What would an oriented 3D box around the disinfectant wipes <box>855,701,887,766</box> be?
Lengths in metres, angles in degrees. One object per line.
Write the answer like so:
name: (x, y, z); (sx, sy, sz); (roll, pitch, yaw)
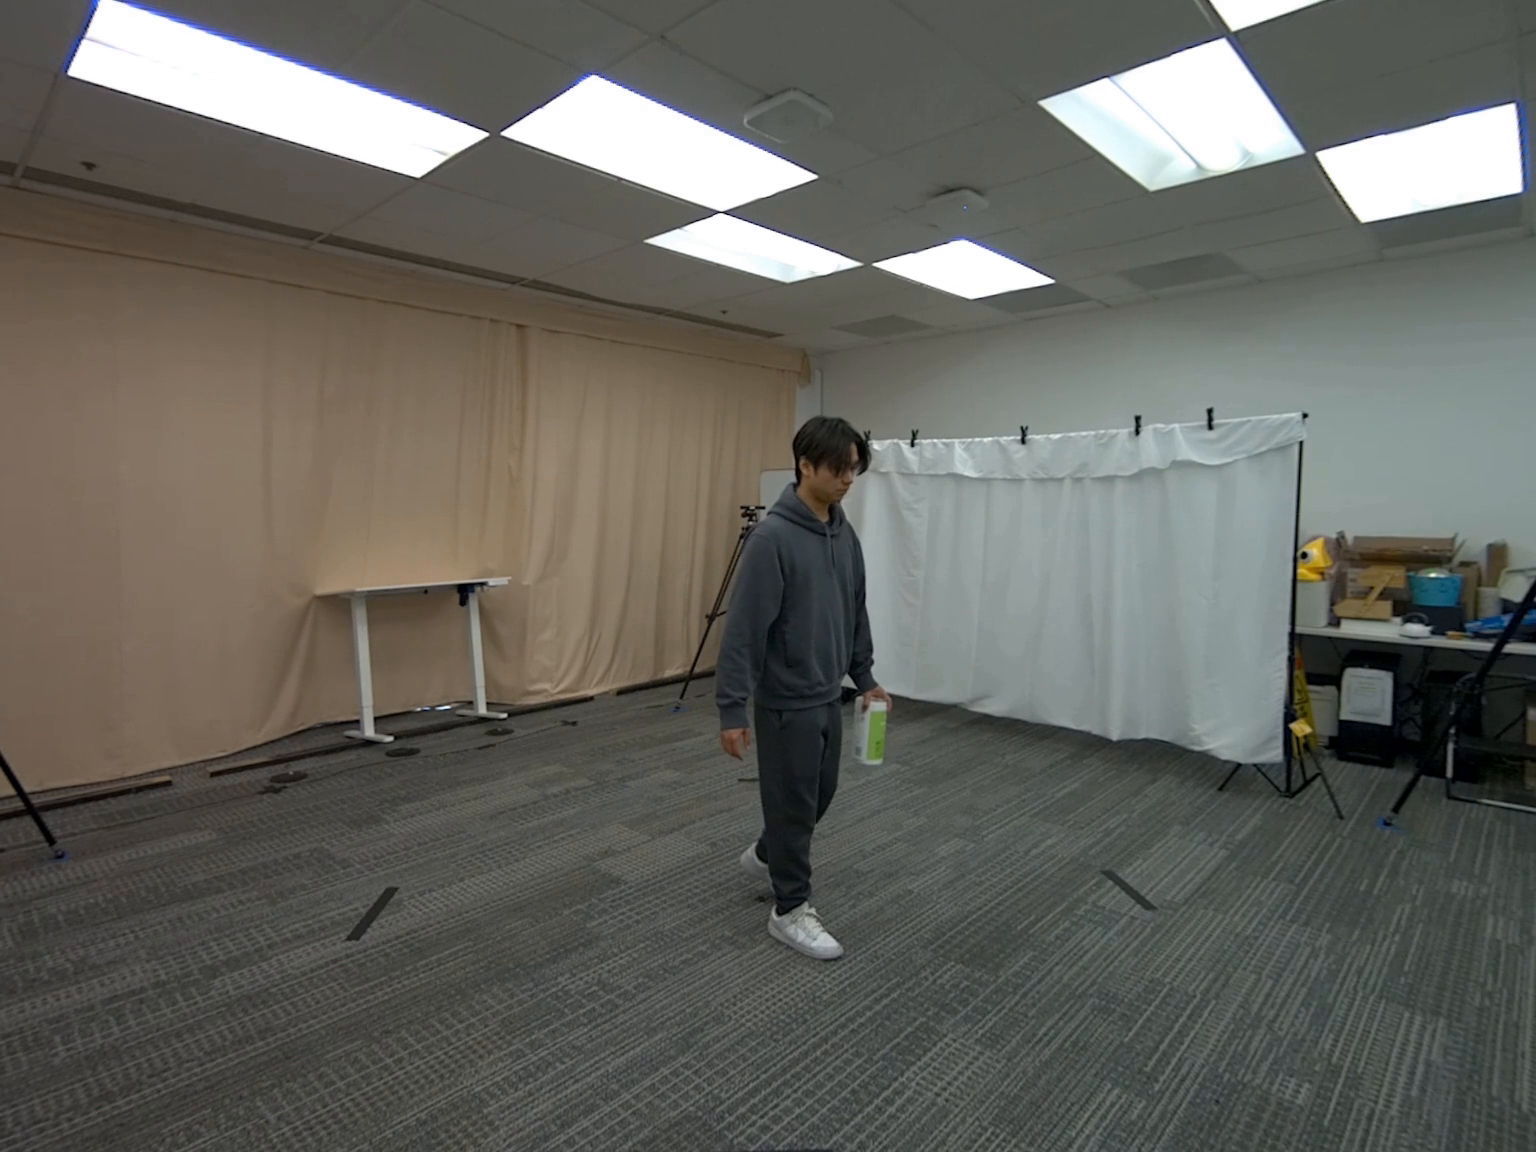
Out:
disinfectant wipes: (0.354, 0.532, 2.869); (0.117, 0.217, 0.118); (4, 4, -2)
